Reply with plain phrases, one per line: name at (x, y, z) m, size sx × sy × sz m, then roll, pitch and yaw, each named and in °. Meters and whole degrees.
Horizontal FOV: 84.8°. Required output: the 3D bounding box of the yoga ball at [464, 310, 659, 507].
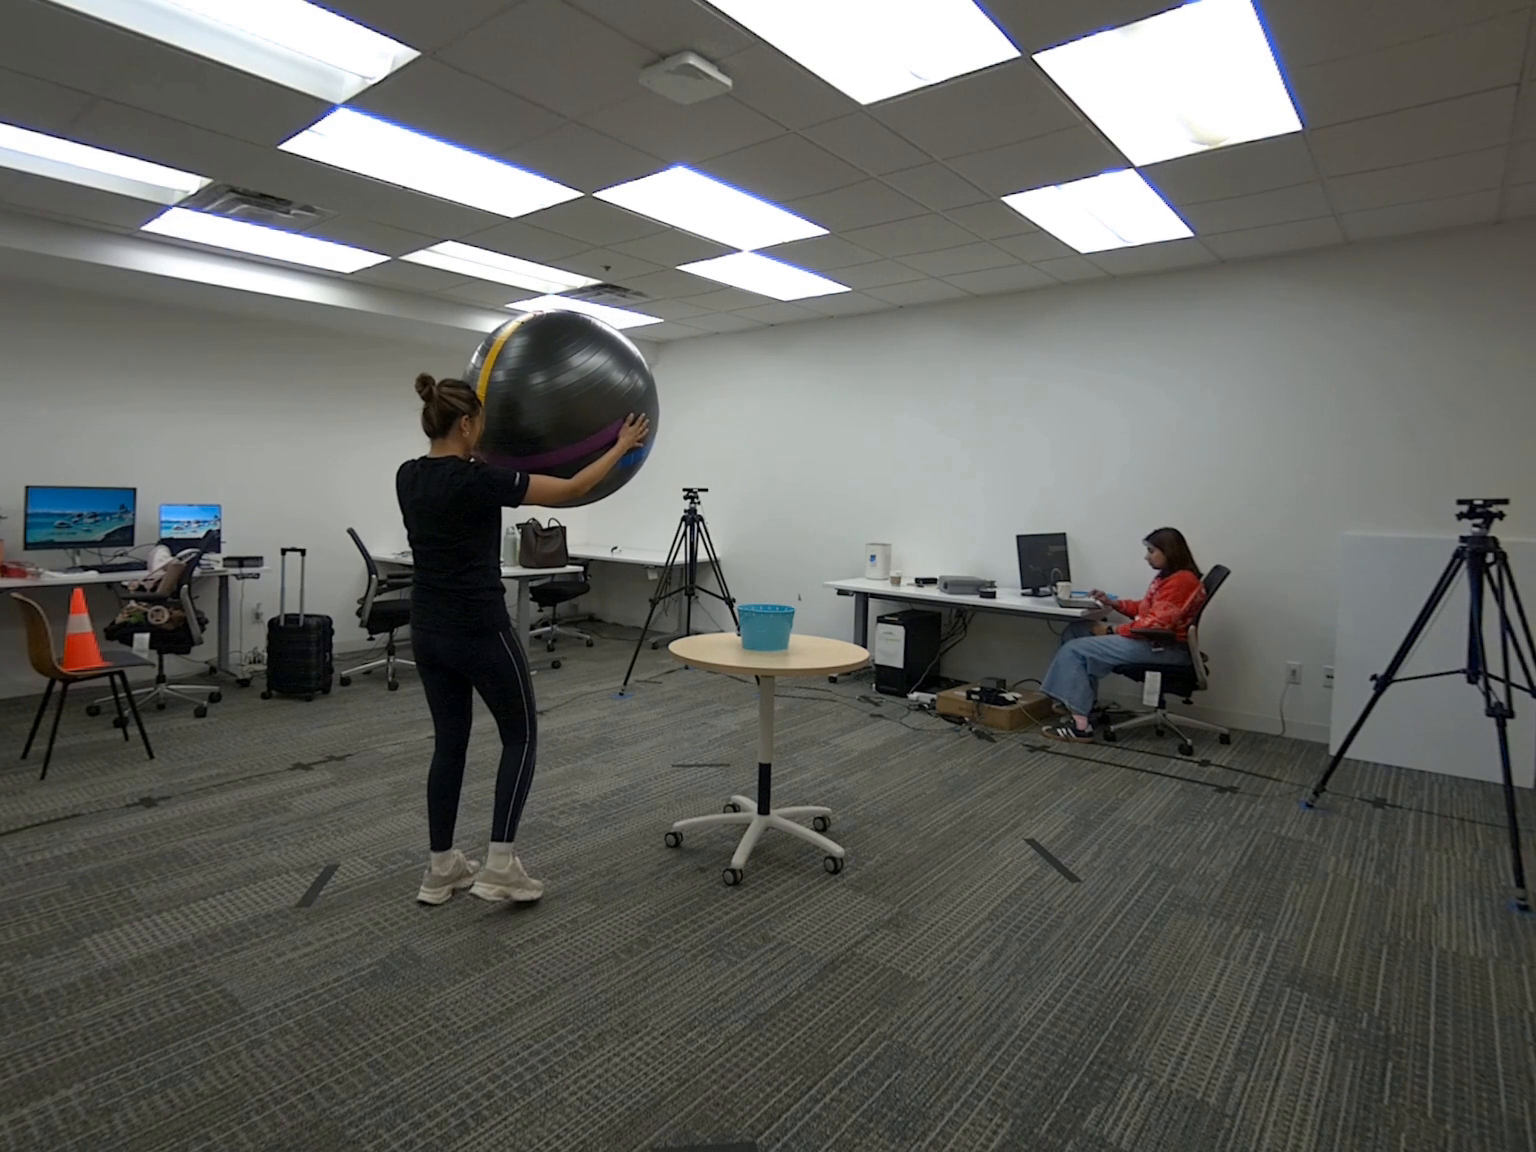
yoga ball at (-0.800, -0.638, 3.273) m, size 0.757 × 0.756 × 0.762 m, roll 1°, pitch 4°, yaw -2°
